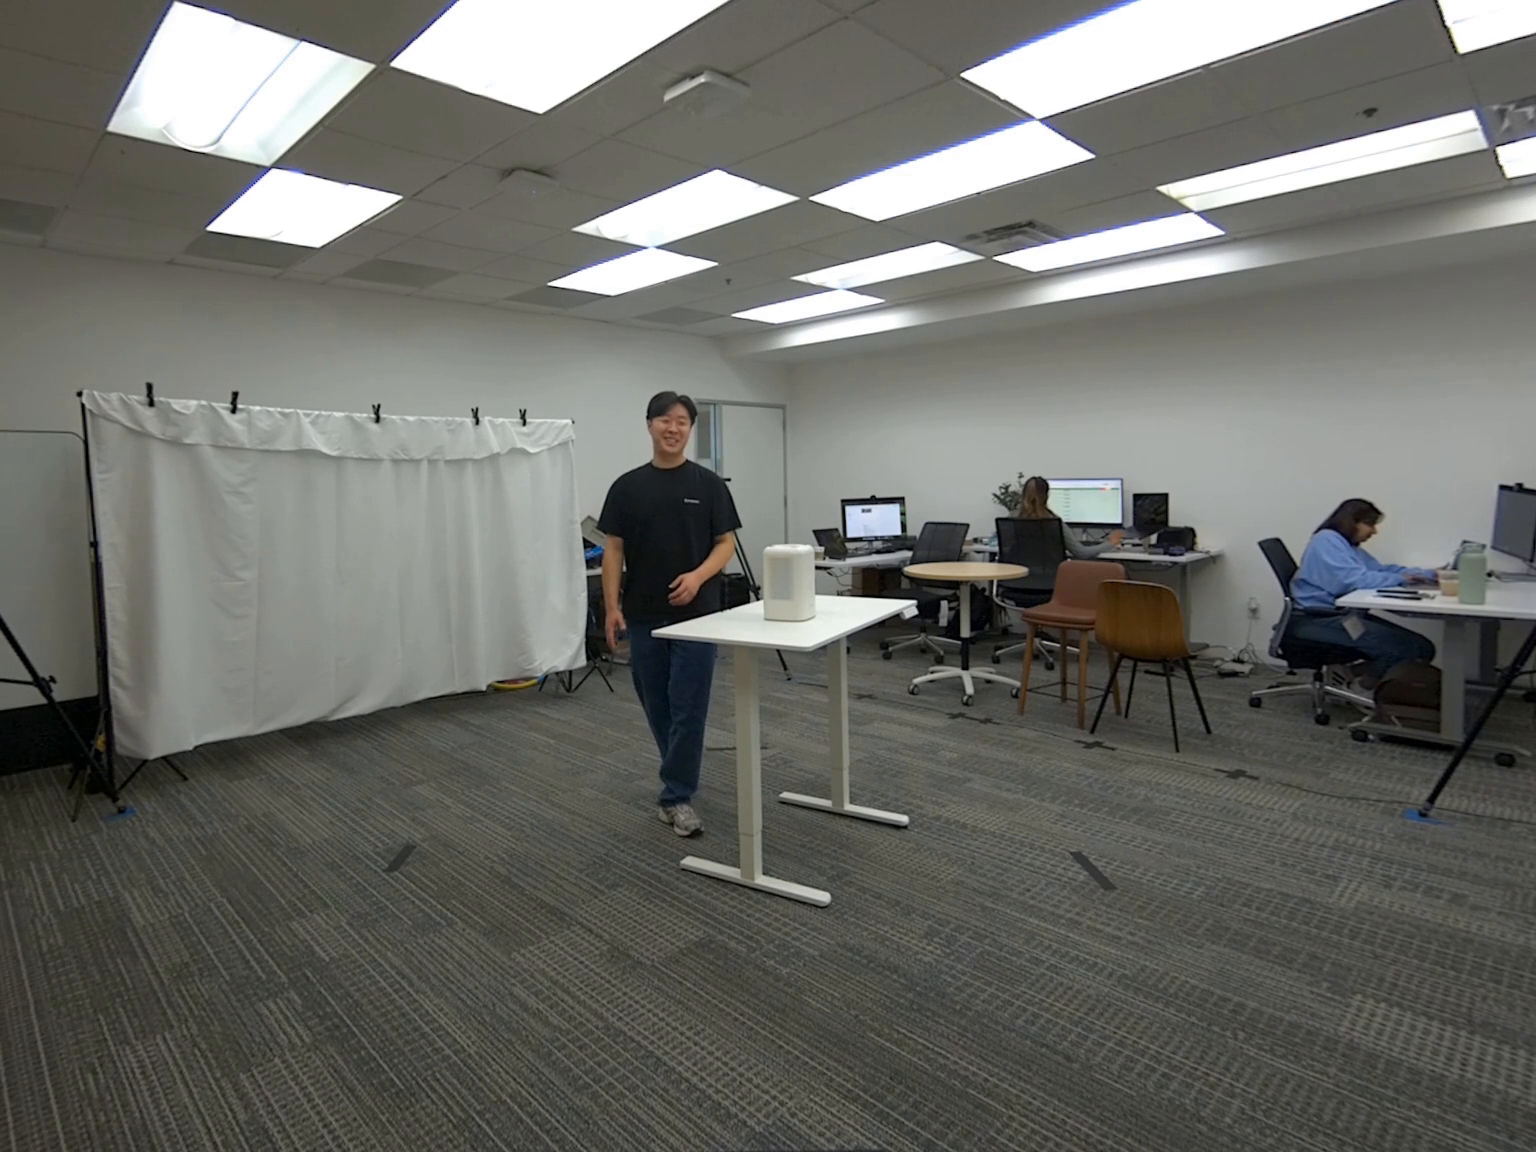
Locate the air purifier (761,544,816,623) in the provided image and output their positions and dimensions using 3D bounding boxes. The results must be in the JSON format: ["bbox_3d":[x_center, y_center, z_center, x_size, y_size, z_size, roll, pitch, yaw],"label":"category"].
[{"bbox_3d":[0.080,0.022,3.124,0.175,0.264,0.168,0,5,25],"label":"air purifier"}]
